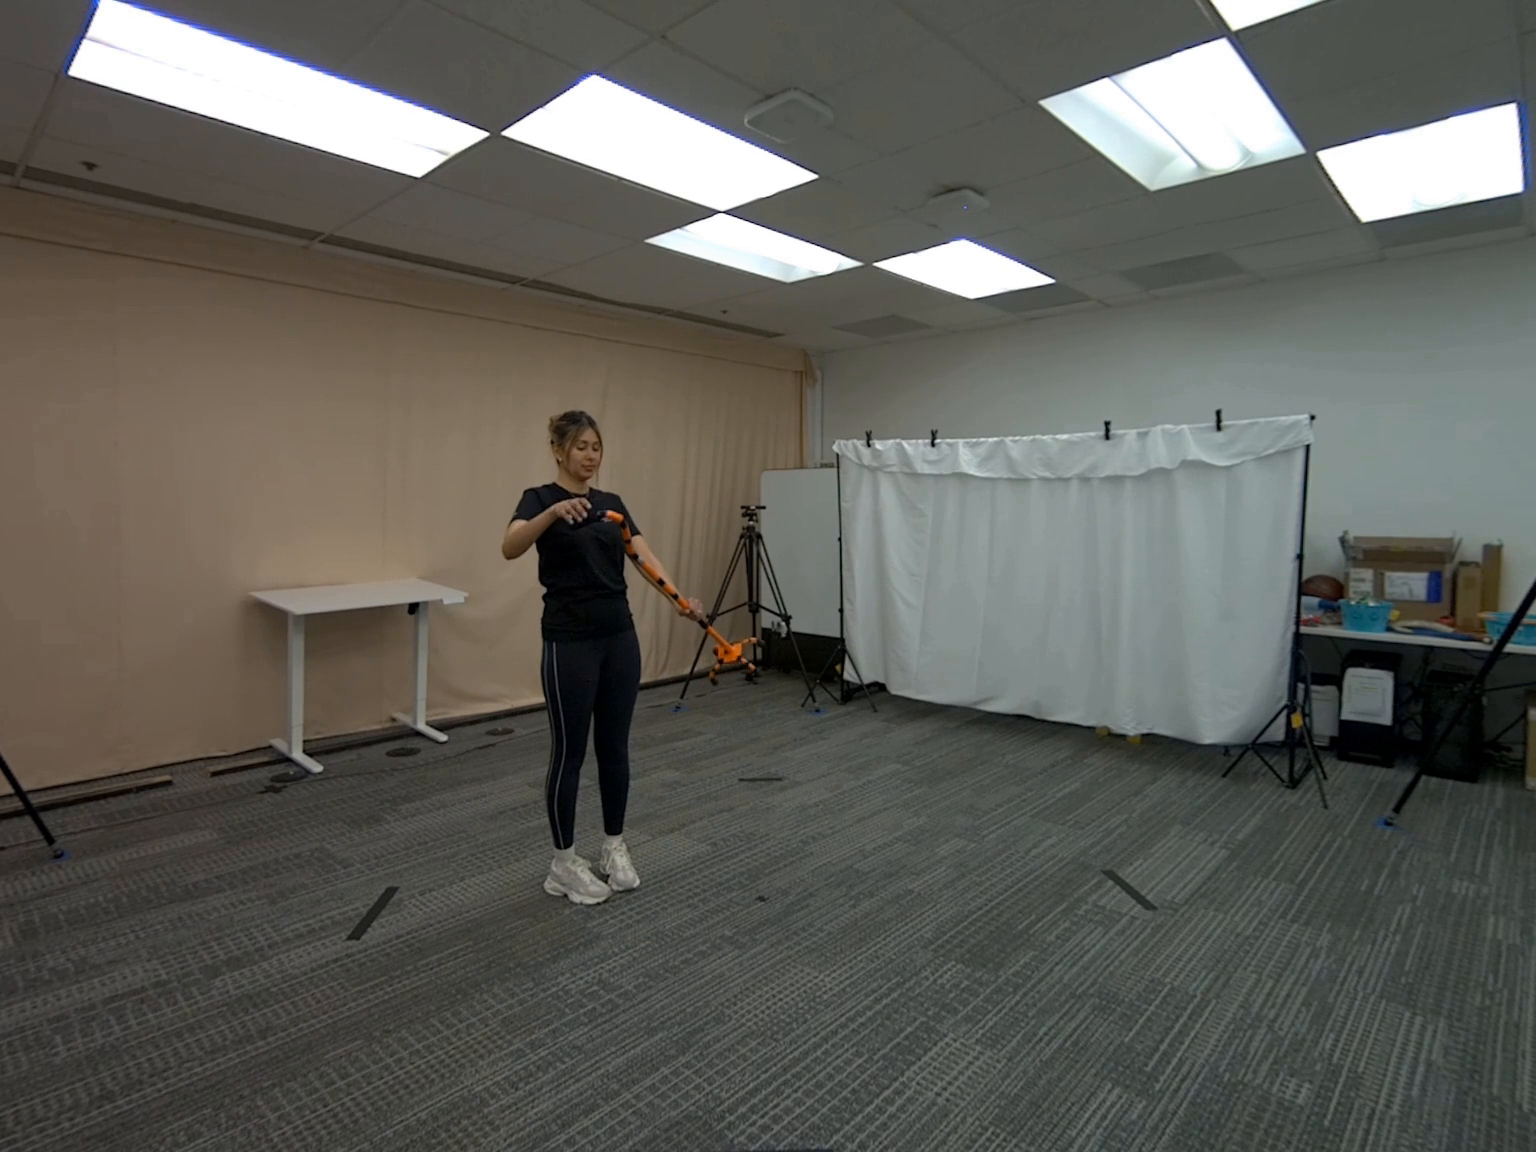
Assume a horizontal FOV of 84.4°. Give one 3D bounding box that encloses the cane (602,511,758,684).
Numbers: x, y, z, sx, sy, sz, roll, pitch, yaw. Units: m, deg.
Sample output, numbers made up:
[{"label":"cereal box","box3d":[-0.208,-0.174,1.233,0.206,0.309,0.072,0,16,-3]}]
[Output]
[{"label":"cane","box3d":[-0.314,0.067,2.756,0.212,0.153,0.877,-7,-40,32]}]
